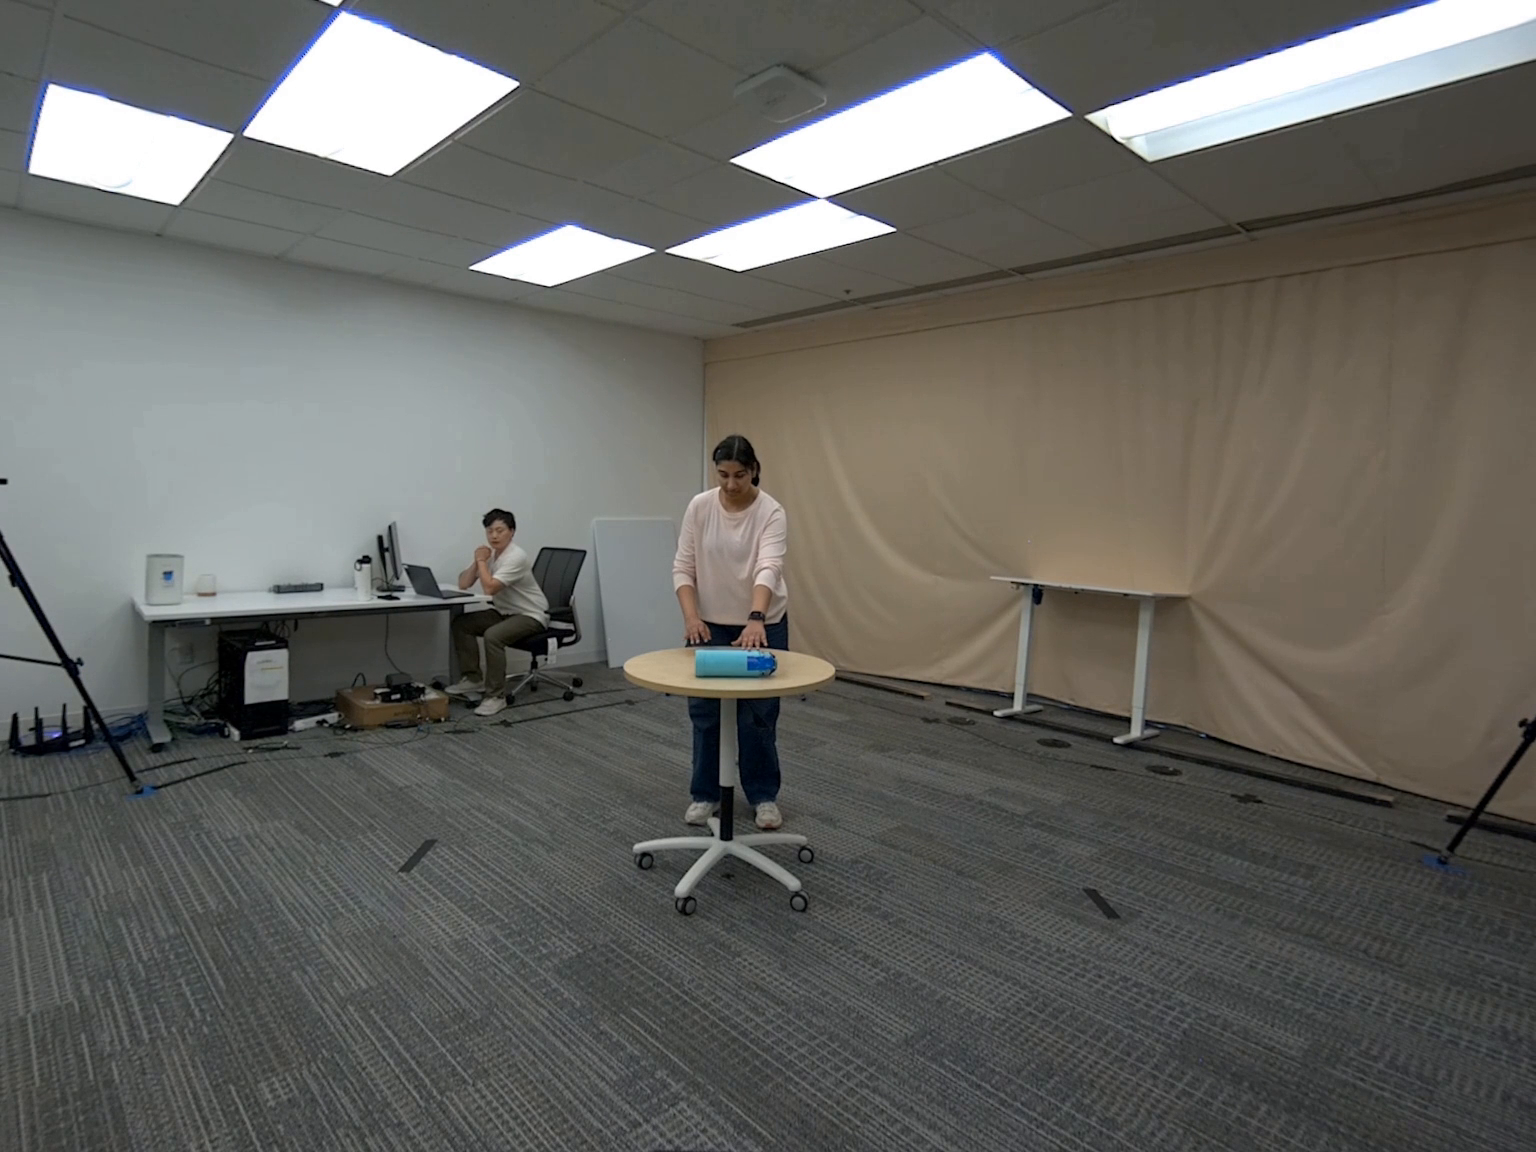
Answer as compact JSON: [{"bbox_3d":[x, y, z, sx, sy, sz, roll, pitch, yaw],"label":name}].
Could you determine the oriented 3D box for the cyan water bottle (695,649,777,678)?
[{"bbox_3d":[-0.120,0.301,2.876,0.283,0.092,0.092,1,4,-1],"label":"cyan water bottle"}]
